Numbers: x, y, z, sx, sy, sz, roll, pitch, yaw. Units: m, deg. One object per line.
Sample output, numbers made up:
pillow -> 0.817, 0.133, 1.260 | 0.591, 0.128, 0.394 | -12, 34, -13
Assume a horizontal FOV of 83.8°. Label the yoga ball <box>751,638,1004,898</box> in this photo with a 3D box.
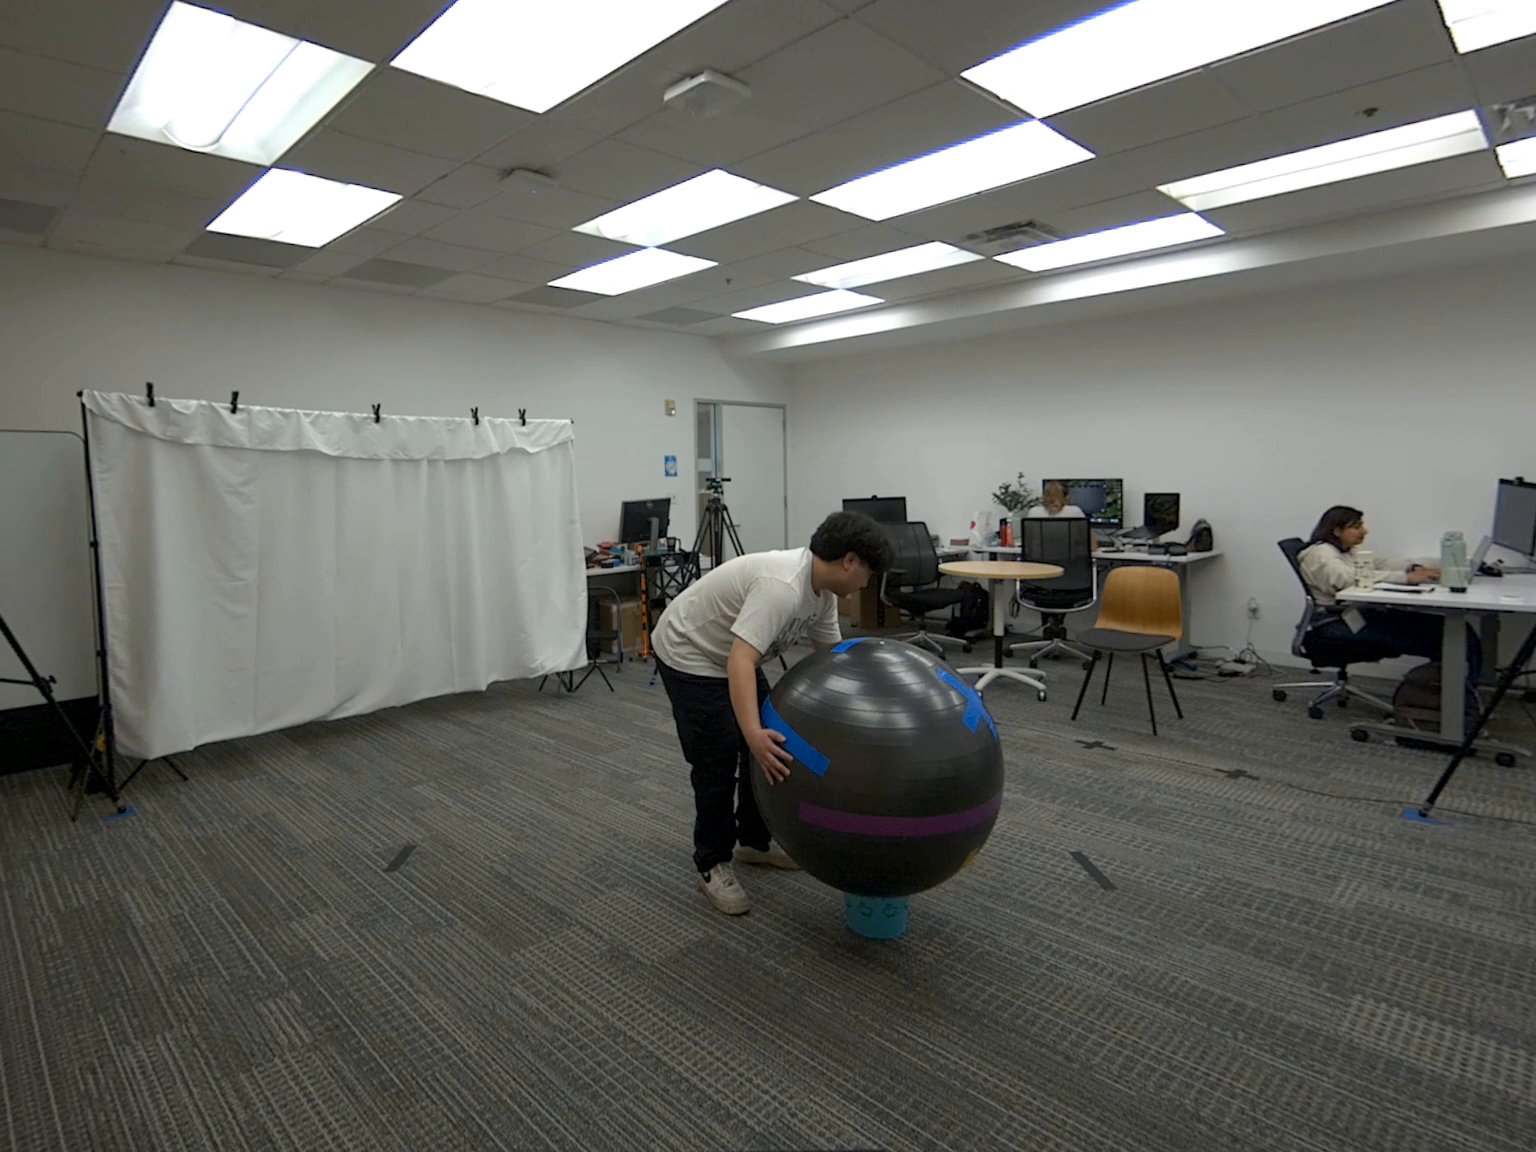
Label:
yoga ball -> 0.330, 0.577, 2.594 | 0.757, 0.755, 0.762 | -1, 5, -2
